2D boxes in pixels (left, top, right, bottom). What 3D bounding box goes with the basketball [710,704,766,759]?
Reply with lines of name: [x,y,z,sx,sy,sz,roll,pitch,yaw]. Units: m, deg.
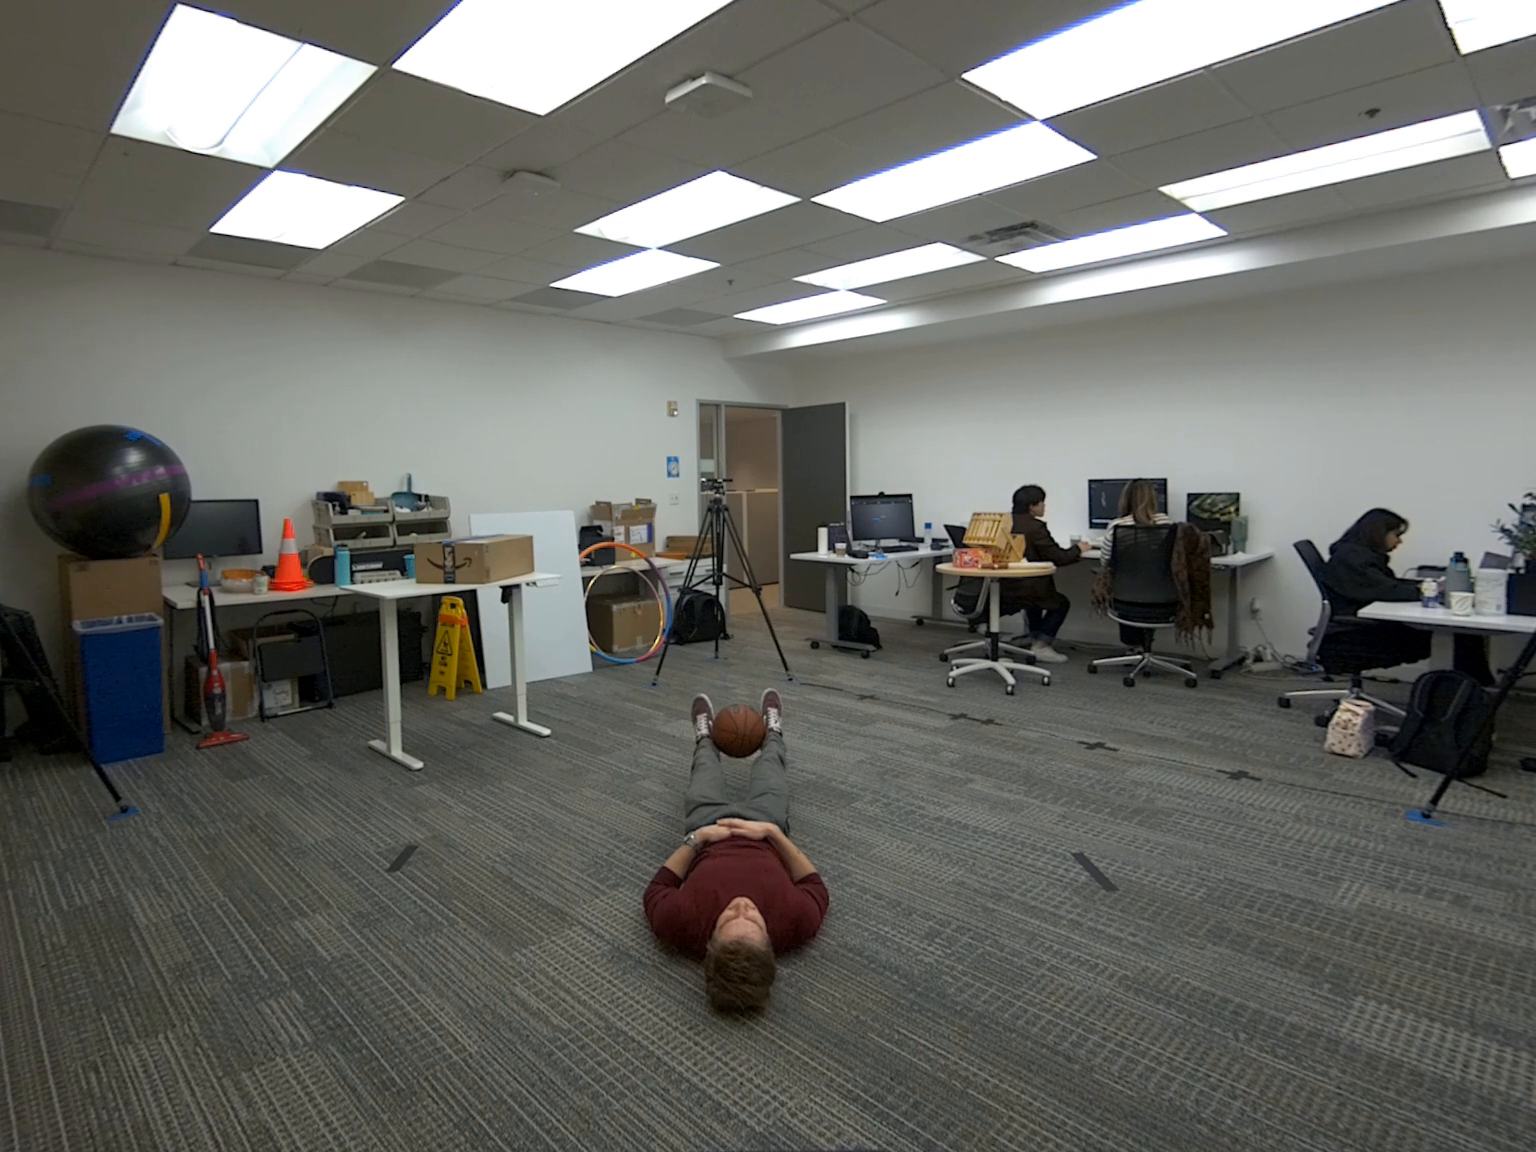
basketball: [-0.123,0.681,3.821,0.236,0.236,0.236,0,1,-2]
